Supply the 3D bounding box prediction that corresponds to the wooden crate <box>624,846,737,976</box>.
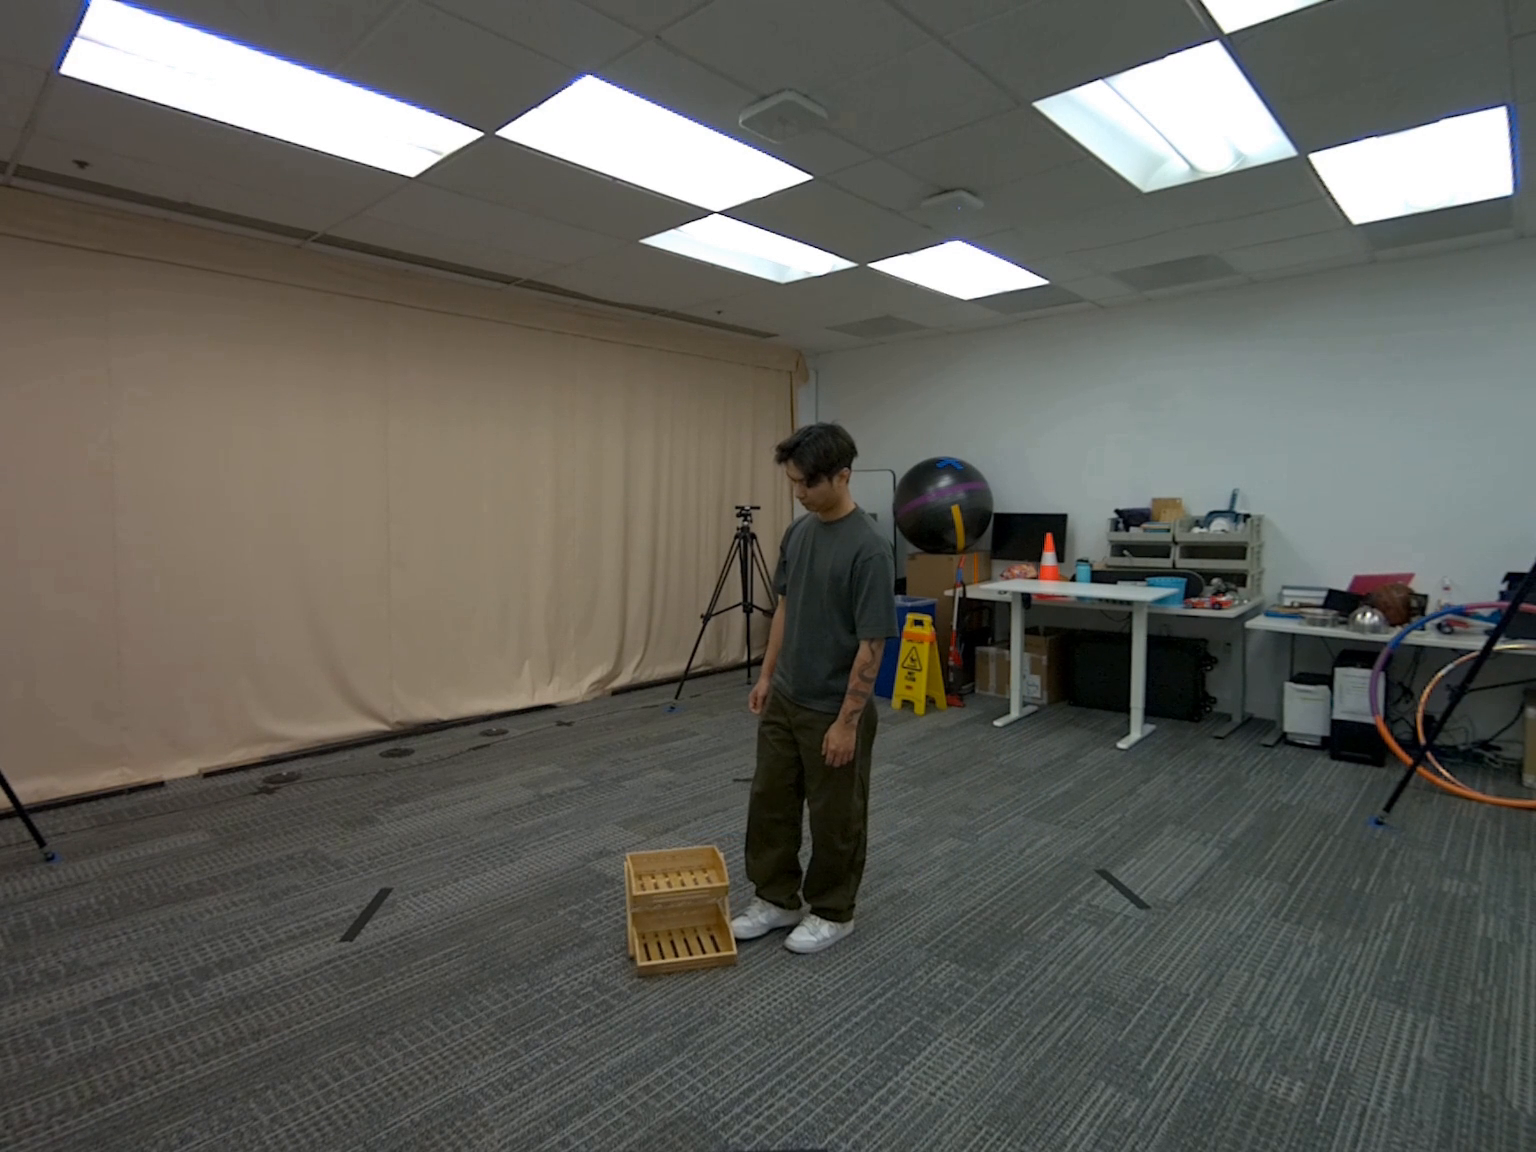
[{"bbox_3d":[-0.277,1.043,2.635,0.320,0.273,0.307,-1,3,-15],"label":"wooden crate"}]
